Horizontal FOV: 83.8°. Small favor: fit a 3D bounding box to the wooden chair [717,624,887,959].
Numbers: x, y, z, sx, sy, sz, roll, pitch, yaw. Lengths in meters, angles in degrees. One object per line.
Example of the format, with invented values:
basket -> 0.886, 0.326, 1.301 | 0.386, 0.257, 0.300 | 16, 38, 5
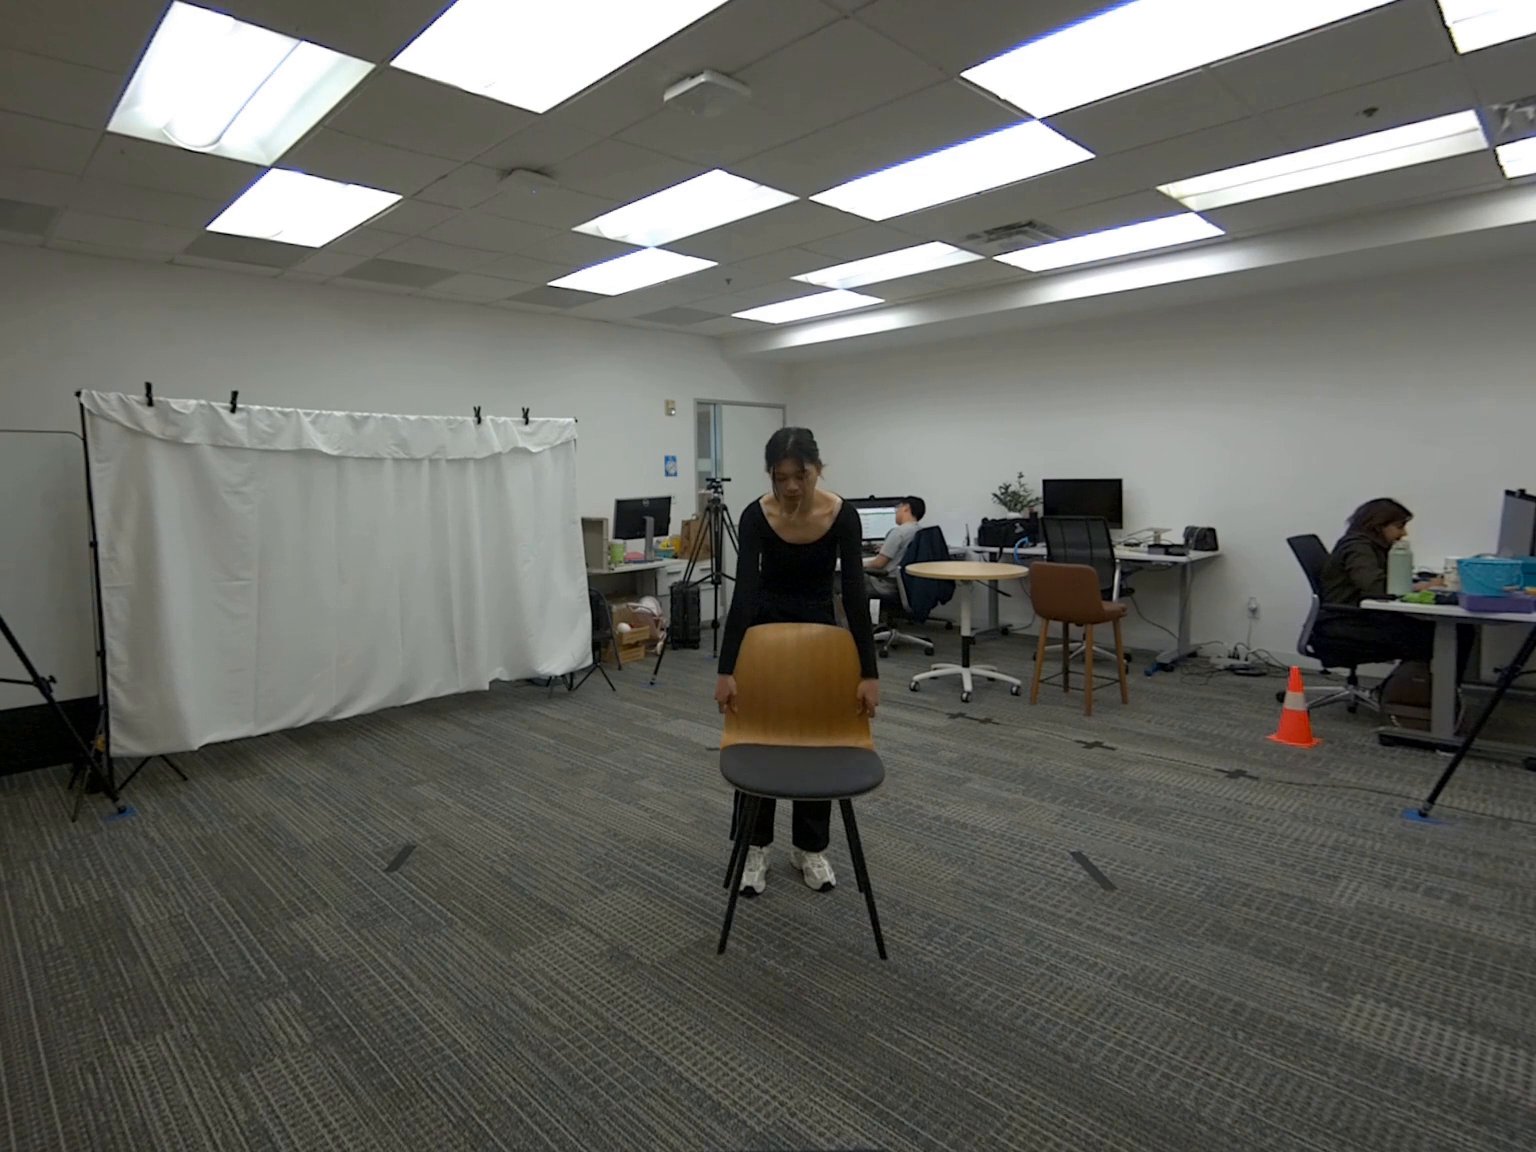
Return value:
wooden chair -> 0.095, 0.591, 2.495 | 0.479, 0.881, 0.521 | 1, -4, 0
